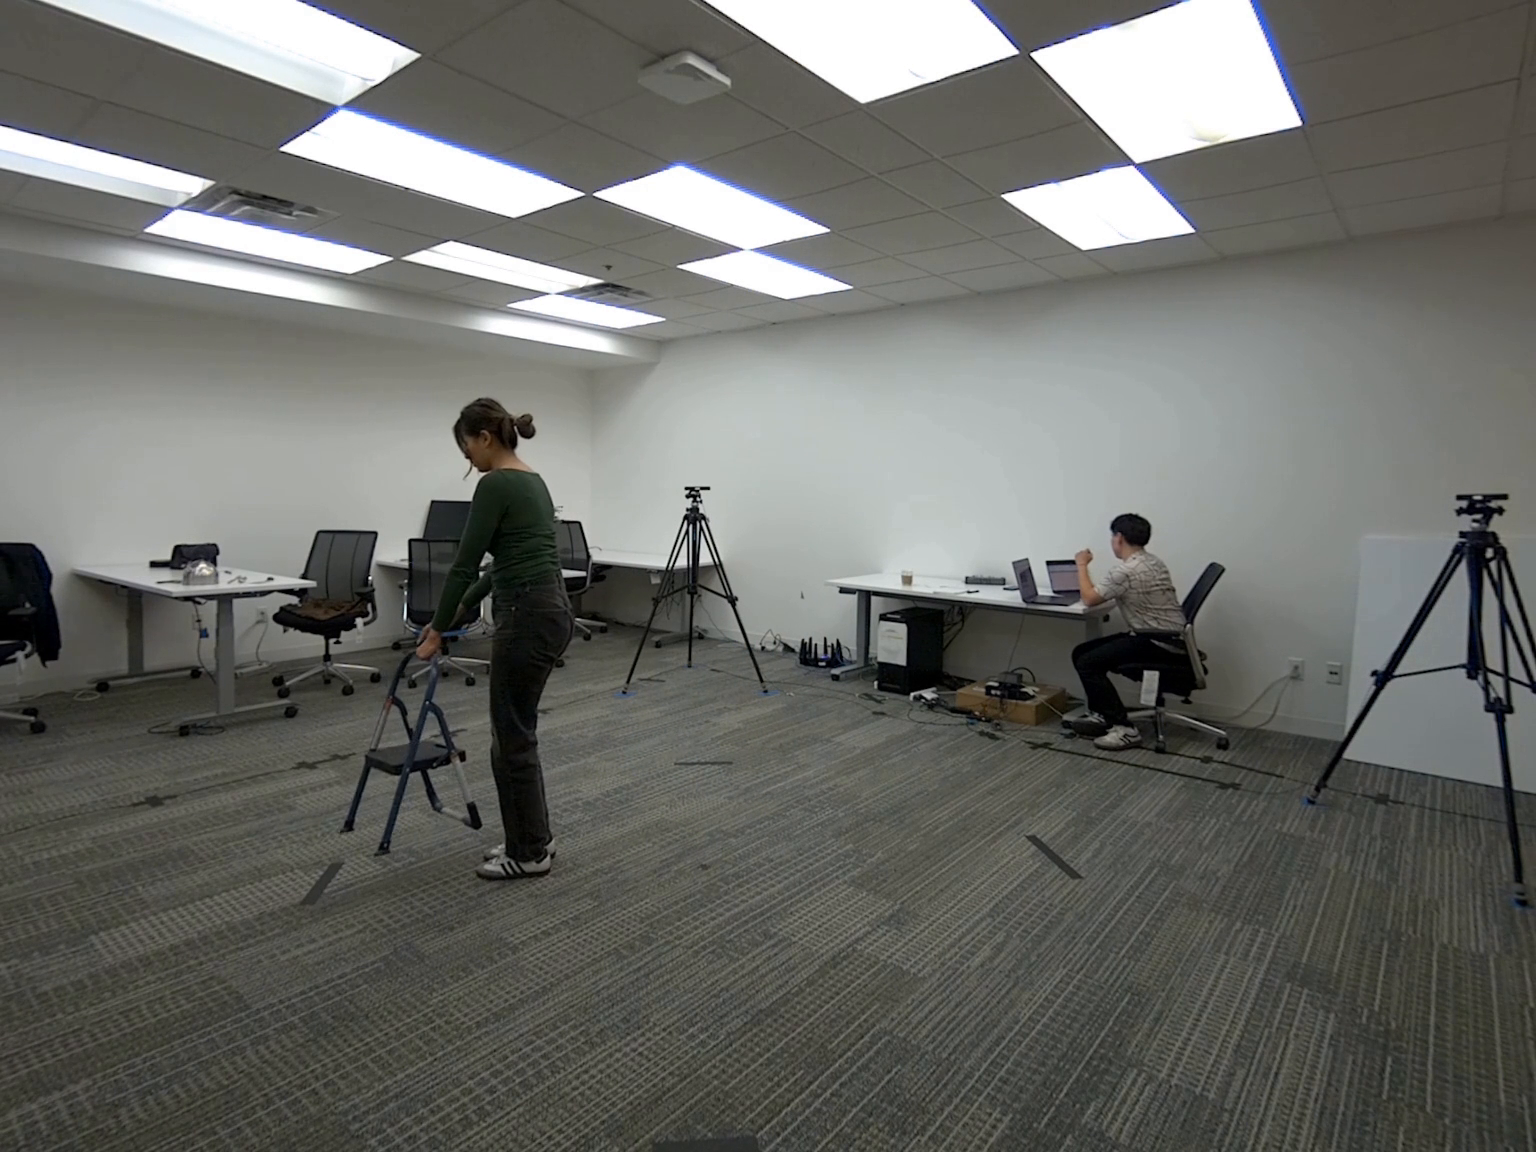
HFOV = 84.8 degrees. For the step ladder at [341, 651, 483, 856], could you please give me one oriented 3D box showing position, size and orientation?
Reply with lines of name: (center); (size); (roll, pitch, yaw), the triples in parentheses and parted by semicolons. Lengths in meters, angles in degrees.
step ladder: (-1.255, 0.570, 2.912); (0.339, 0.608, 0.442); (-2, -4, -41)
